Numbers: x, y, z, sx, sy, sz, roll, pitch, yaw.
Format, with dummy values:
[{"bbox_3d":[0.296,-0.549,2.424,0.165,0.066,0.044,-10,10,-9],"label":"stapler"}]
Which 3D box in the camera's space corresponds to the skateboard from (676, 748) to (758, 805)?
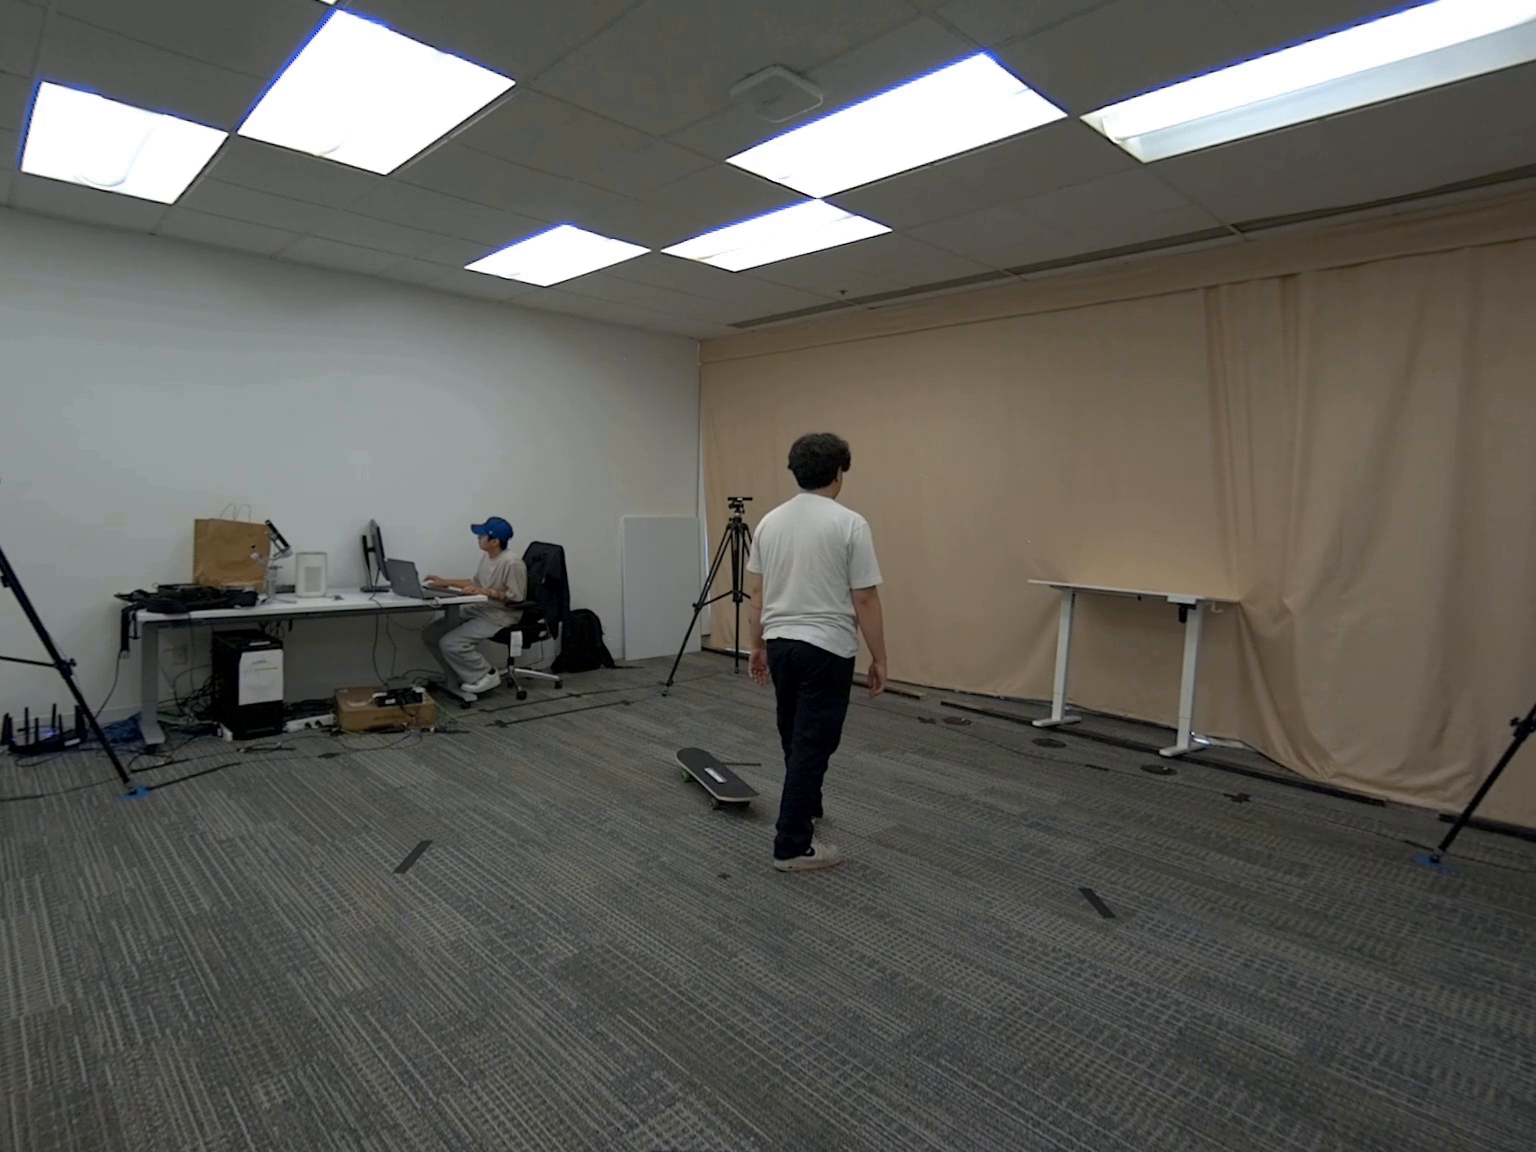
[{"bbox_3d":[-0.262,0.973,3.987,0.190,0.110,0.801,0,5,-24],"label":"skateboard"}]
